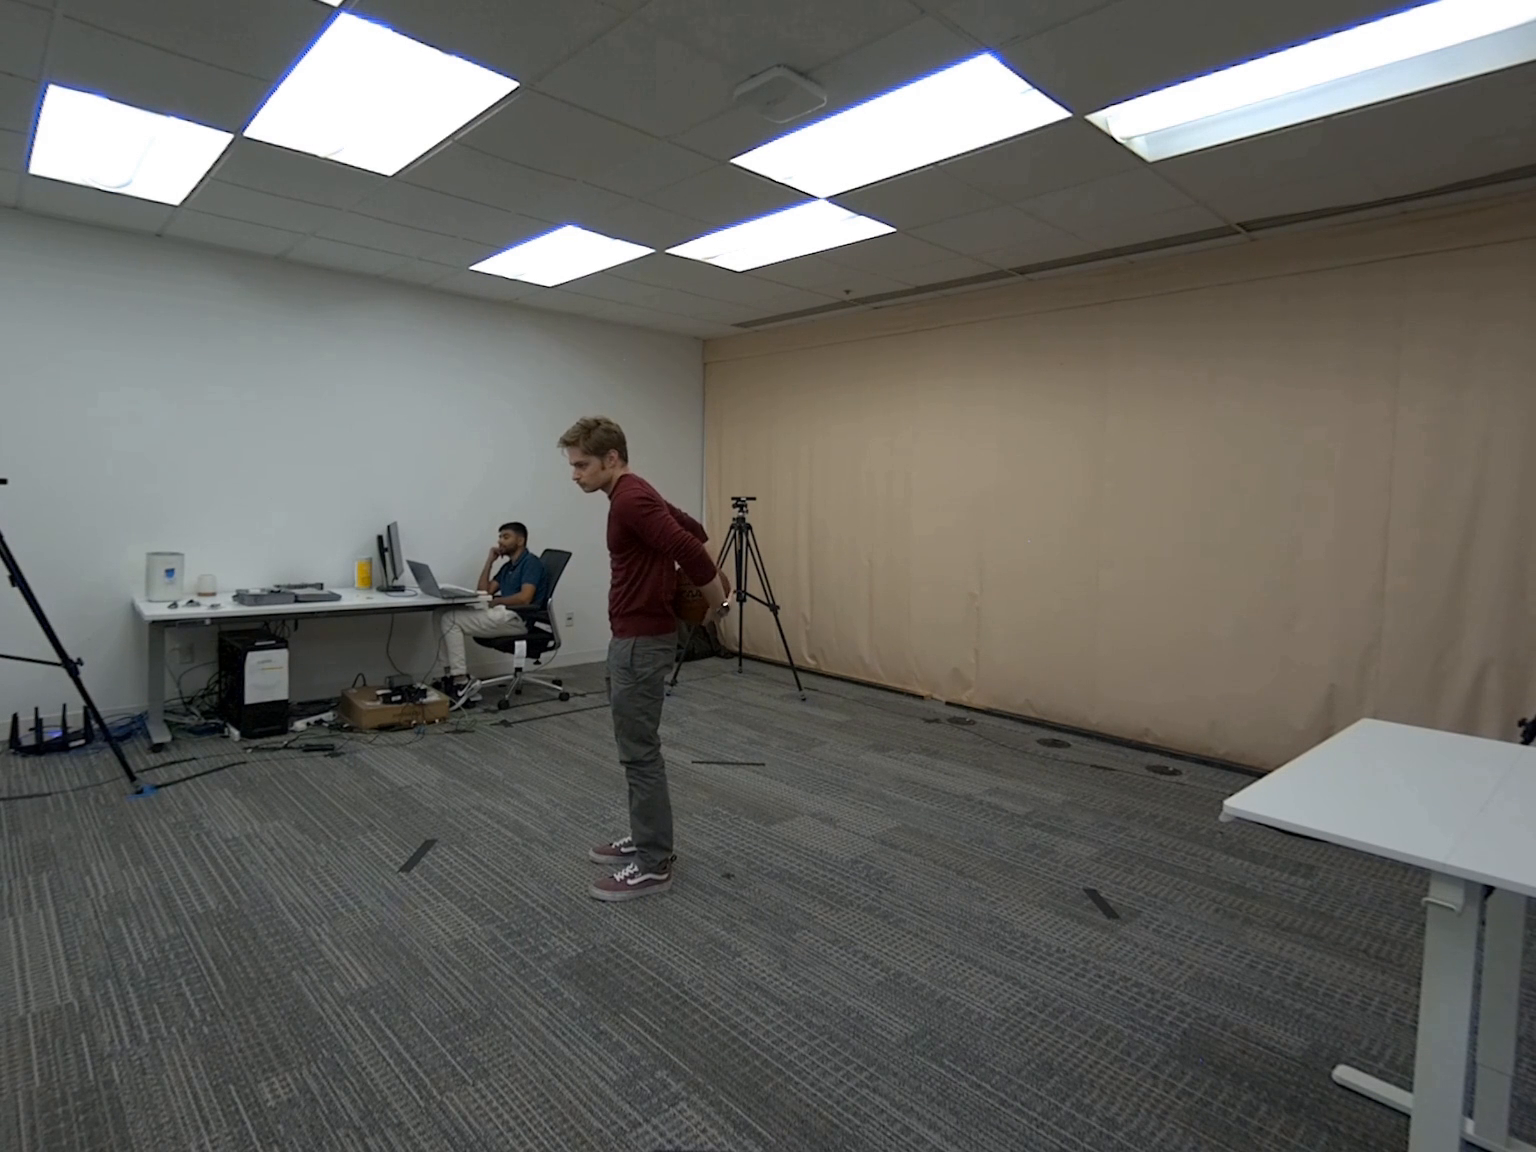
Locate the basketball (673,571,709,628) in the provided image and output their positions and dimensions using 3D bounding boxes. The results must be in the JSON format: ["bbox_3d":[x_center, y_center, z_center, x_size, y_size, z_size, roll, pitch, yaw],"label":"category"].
[{"bbox_3d":[-0.272,0.063,3.100,0.236,0.235,0.237,1,4,-1],"label":"basketball"}]
